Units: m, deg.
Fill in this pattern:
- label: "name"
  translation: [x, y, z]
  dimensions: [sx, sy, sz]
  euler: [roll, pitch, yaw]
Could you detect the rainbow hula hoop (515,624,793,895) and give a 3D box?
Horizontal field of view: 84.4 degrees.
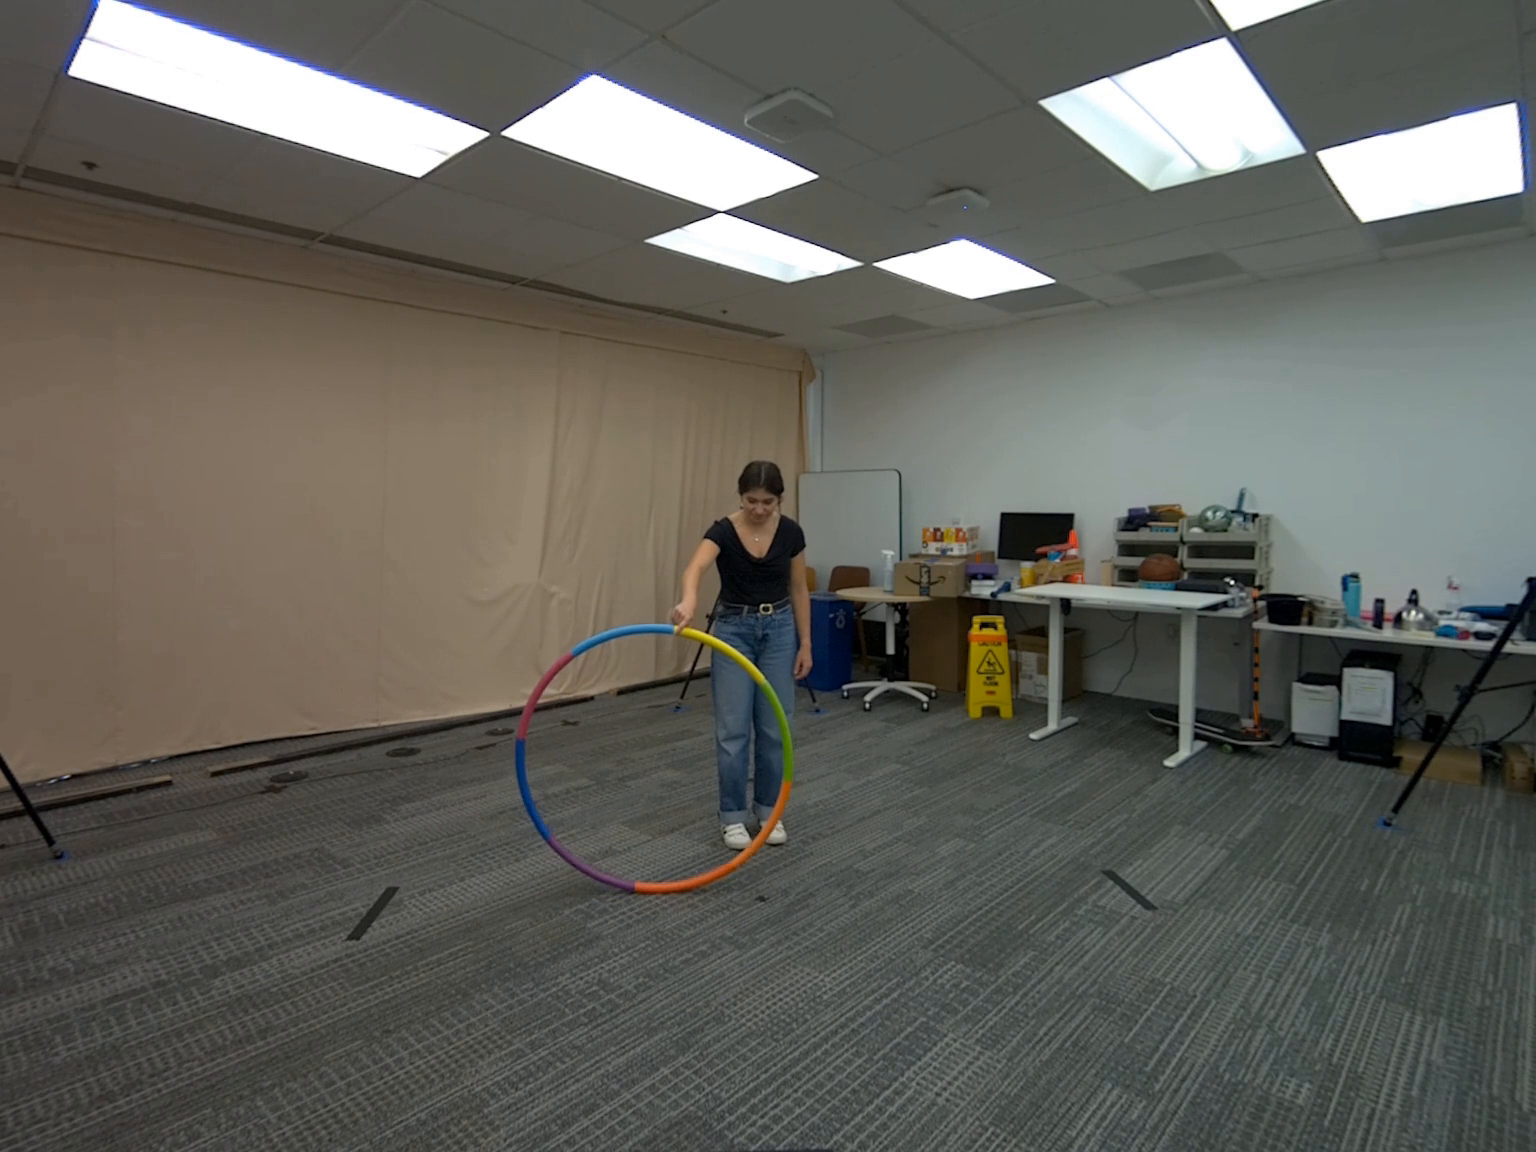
- label: "rainbow hula hoop"
  translation: [-0.403, 0.663, 3.011]
  dimensions: [0.977, 0.976, 0.035]
  euler: [0, 3, -1]
